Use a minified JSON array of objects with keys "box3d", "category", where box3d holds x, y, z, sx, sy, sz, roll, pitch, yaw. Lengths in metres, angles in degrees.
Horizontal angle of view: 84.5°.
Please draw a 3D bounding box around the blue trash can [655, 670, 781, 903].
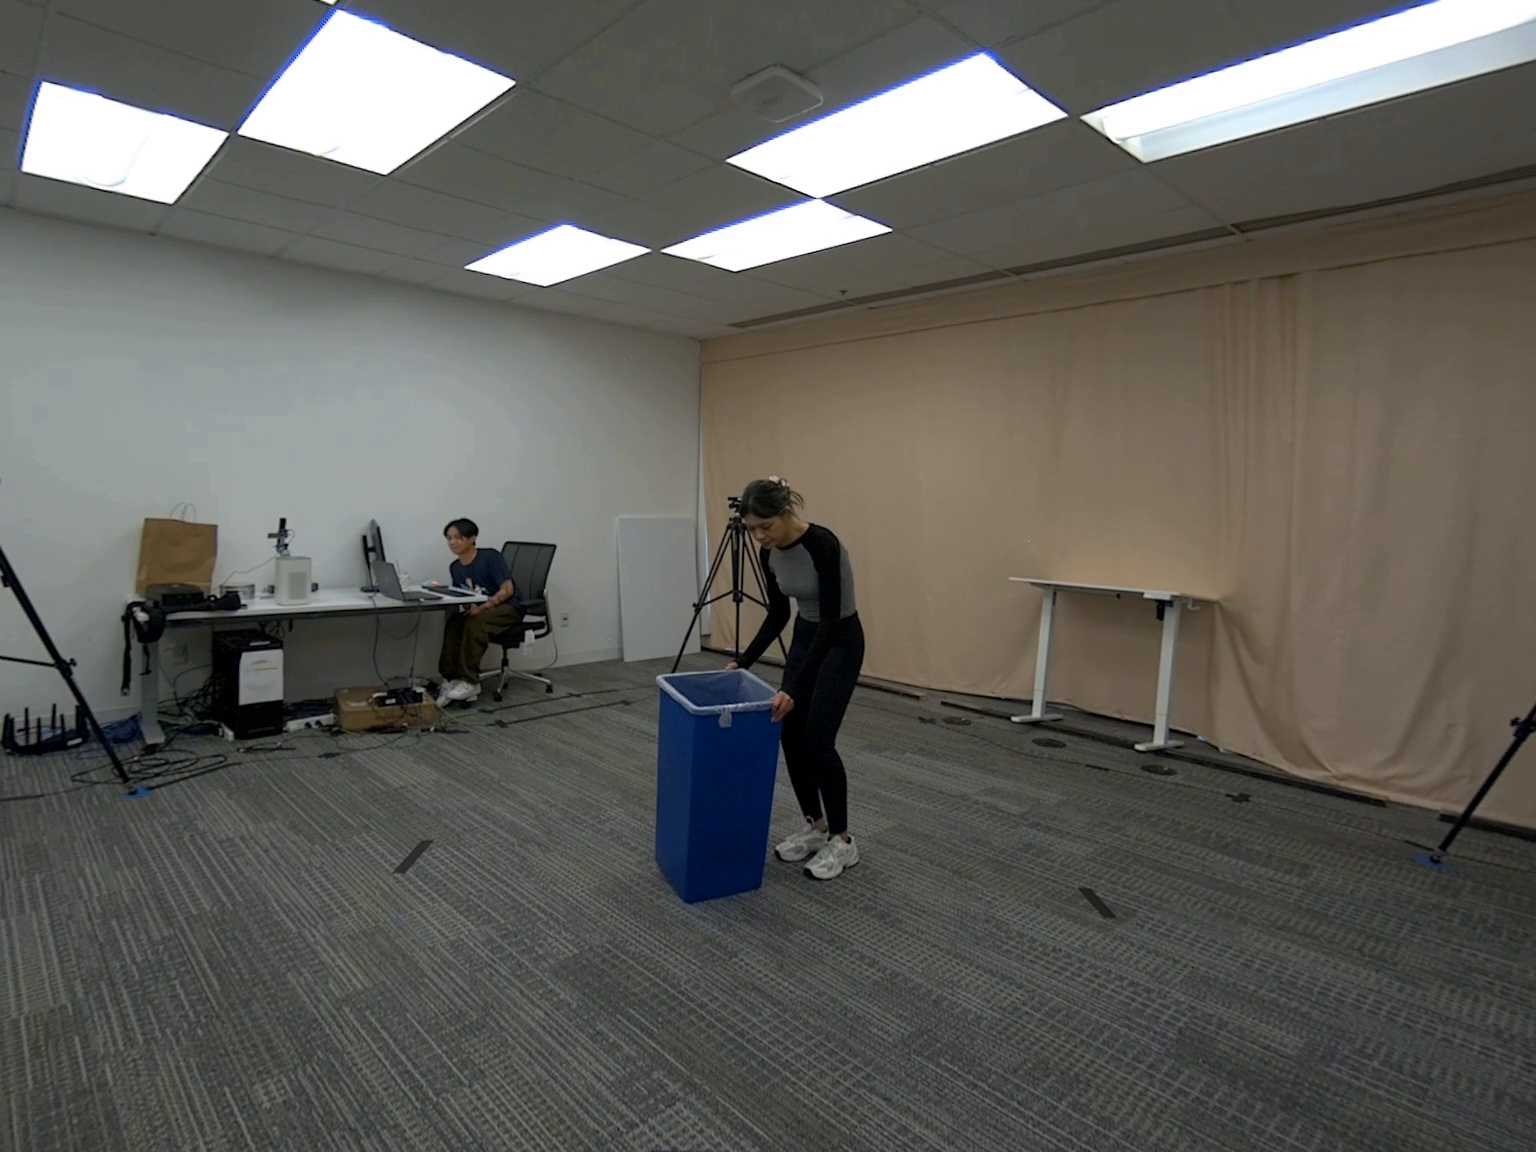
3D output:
[{"box3d":[-0.193,0.741,3.024,0.367,0.709,0.388,-1,11,-29],"category":"blue trash can"}]
